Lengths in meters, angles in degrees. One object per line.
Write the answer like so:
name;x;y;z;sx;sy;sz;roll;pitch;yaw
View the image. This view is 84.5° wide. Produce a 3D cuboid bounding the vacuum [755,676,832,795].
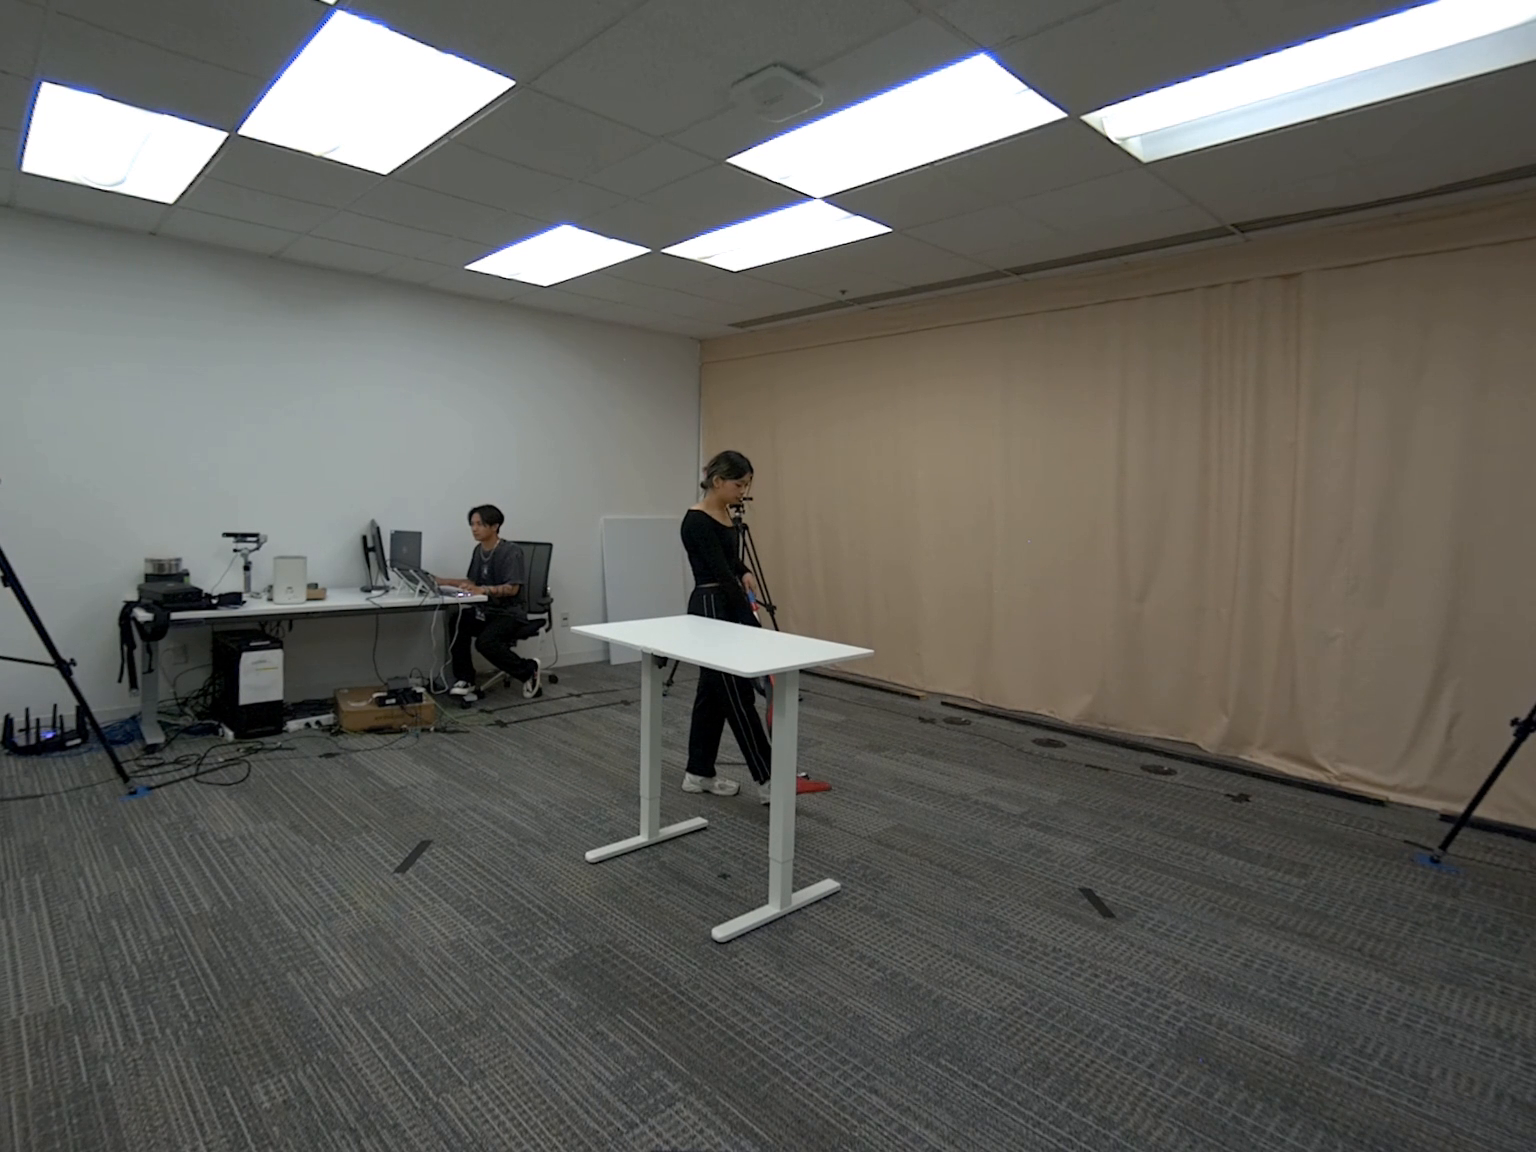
vacuum;0.004;0.460;3.751;0.247;1.075;0.144;6;-37;-30
